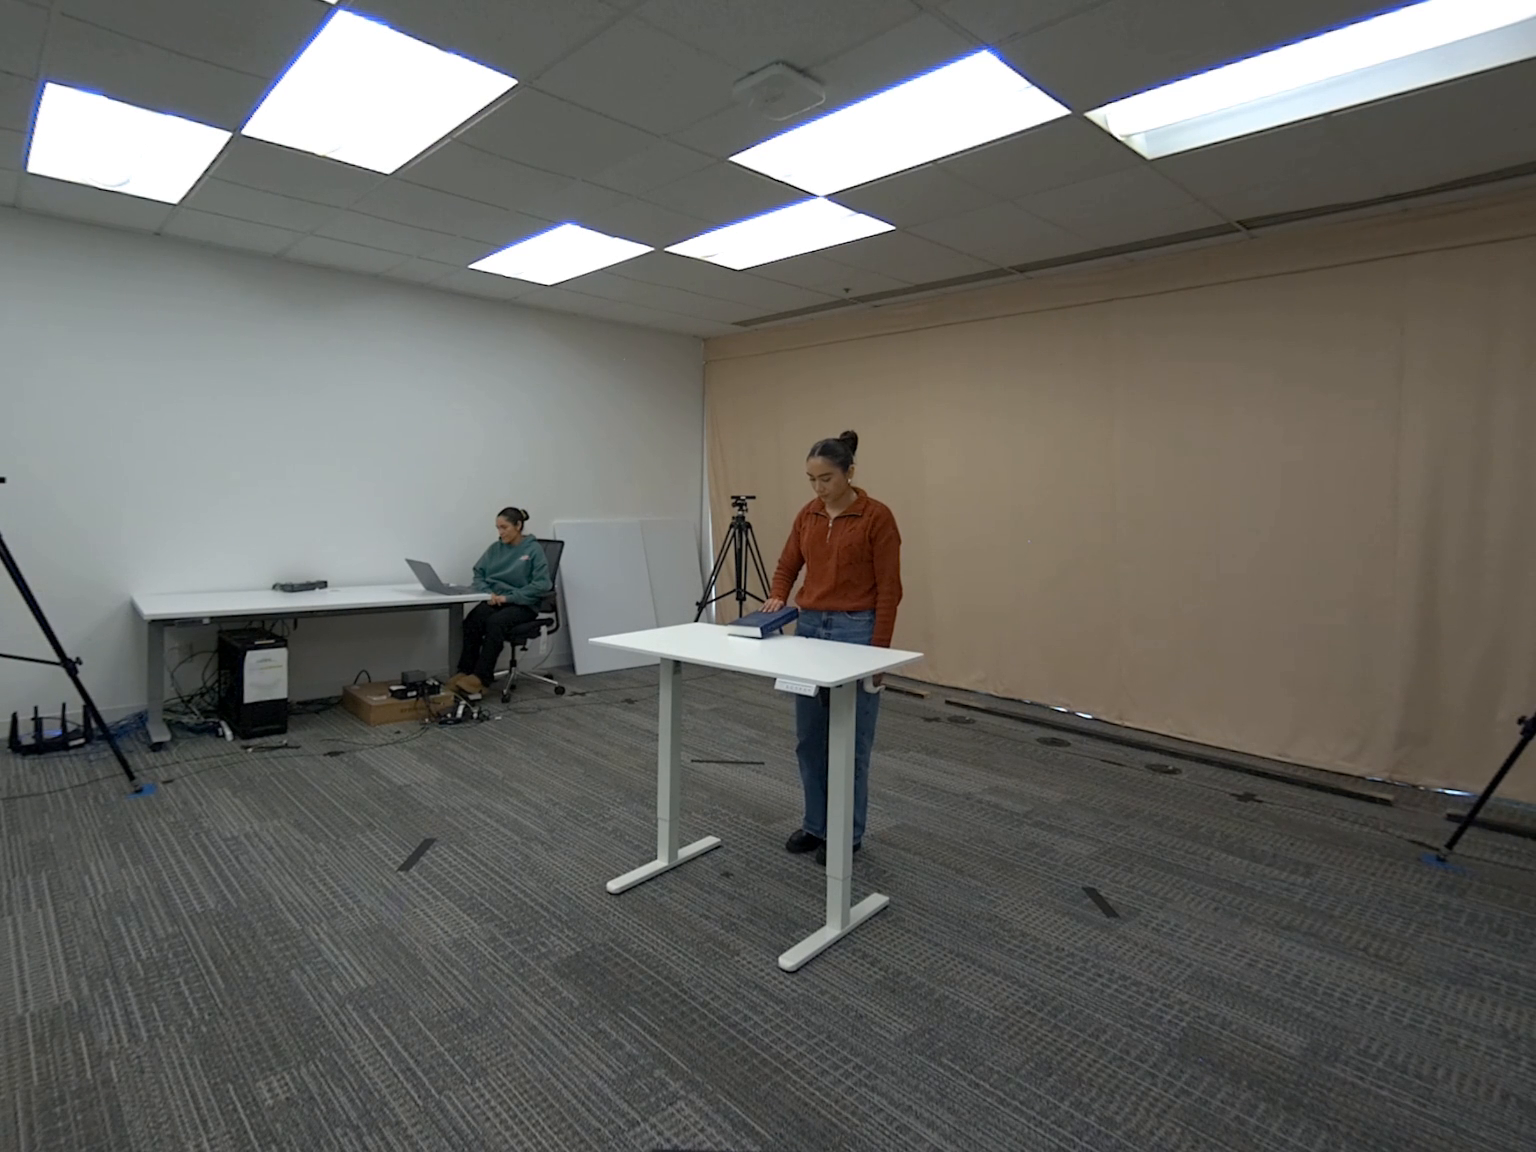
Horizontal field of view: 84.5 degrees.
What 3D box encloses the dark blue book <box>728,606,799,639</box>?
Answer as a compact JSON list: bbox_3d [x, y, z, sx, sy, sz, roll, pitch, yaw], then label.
[{"bbox_3d":[-0.050,0.173,3.160,0.167,0.045,0.242,0,13,33],"label":"dark blue book"}]
